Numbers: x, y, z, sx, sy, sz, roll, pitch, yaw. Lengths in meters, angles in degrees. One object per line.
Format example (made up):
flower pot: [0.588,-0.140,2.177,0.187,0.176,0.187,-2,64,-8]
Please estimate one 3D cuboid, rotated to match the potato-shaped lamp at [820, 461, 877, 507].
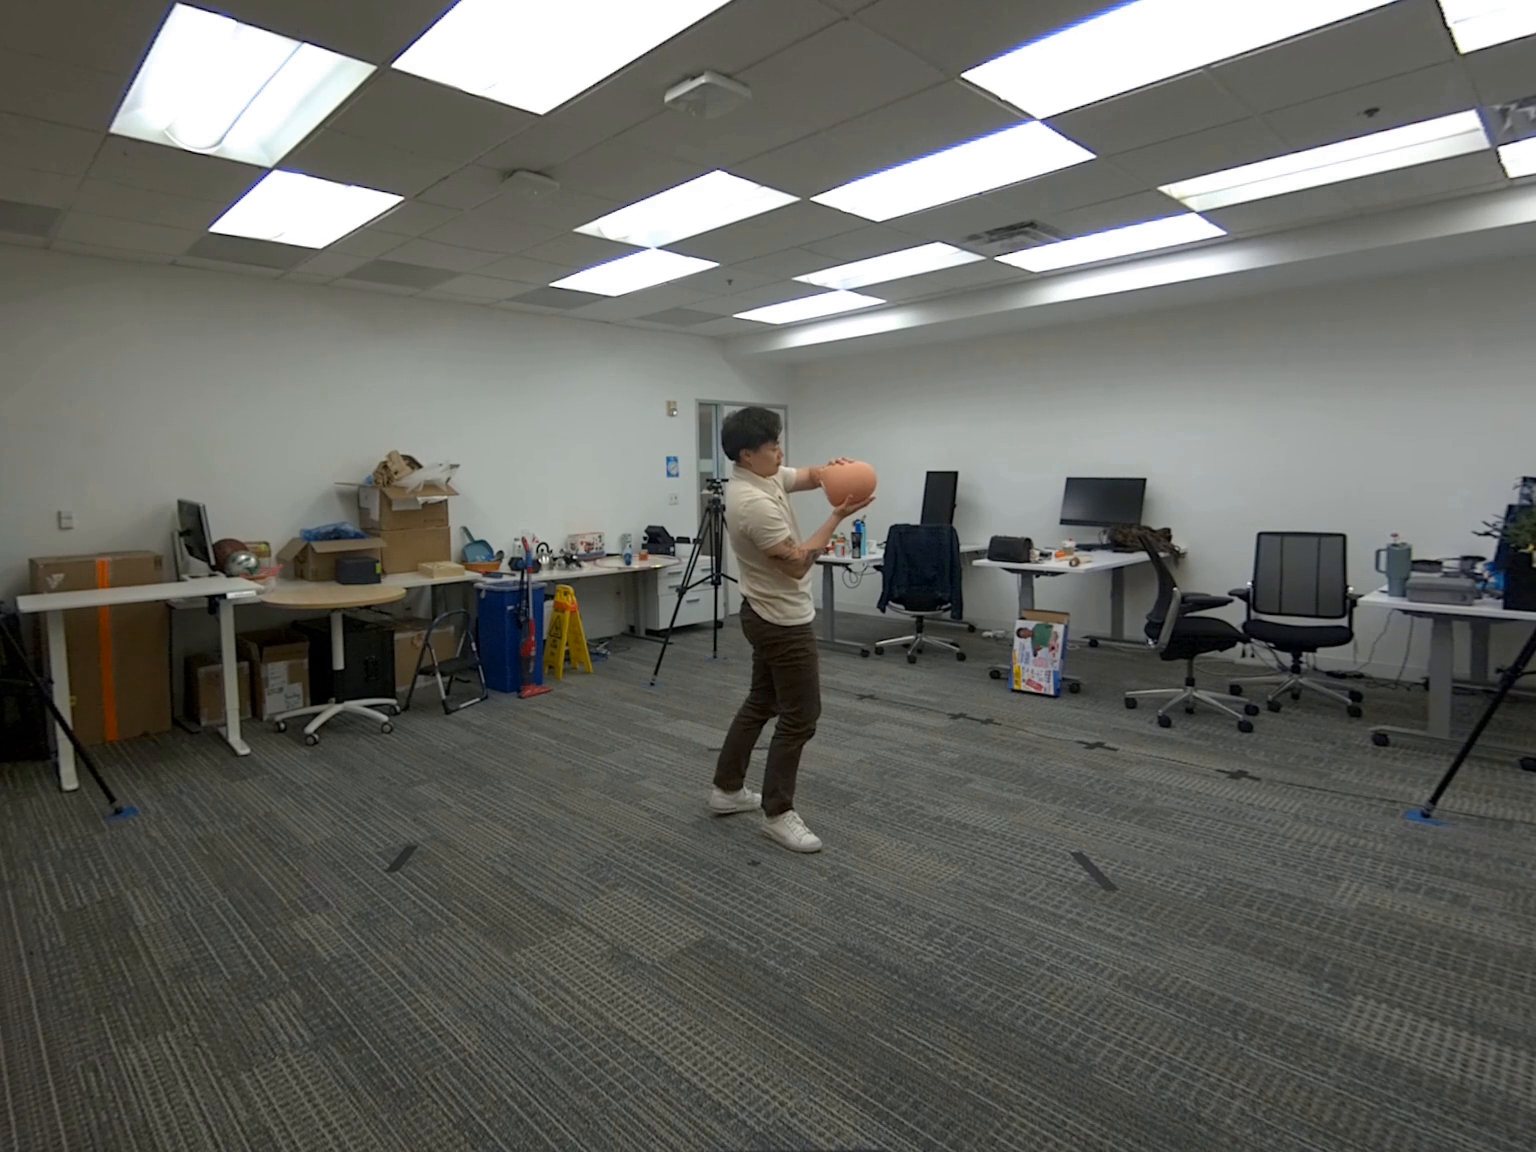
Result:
potato-shaped lamp: [0.292,-0.348,3.165,0.198,0.177,0.159,-22,-40,-1]
